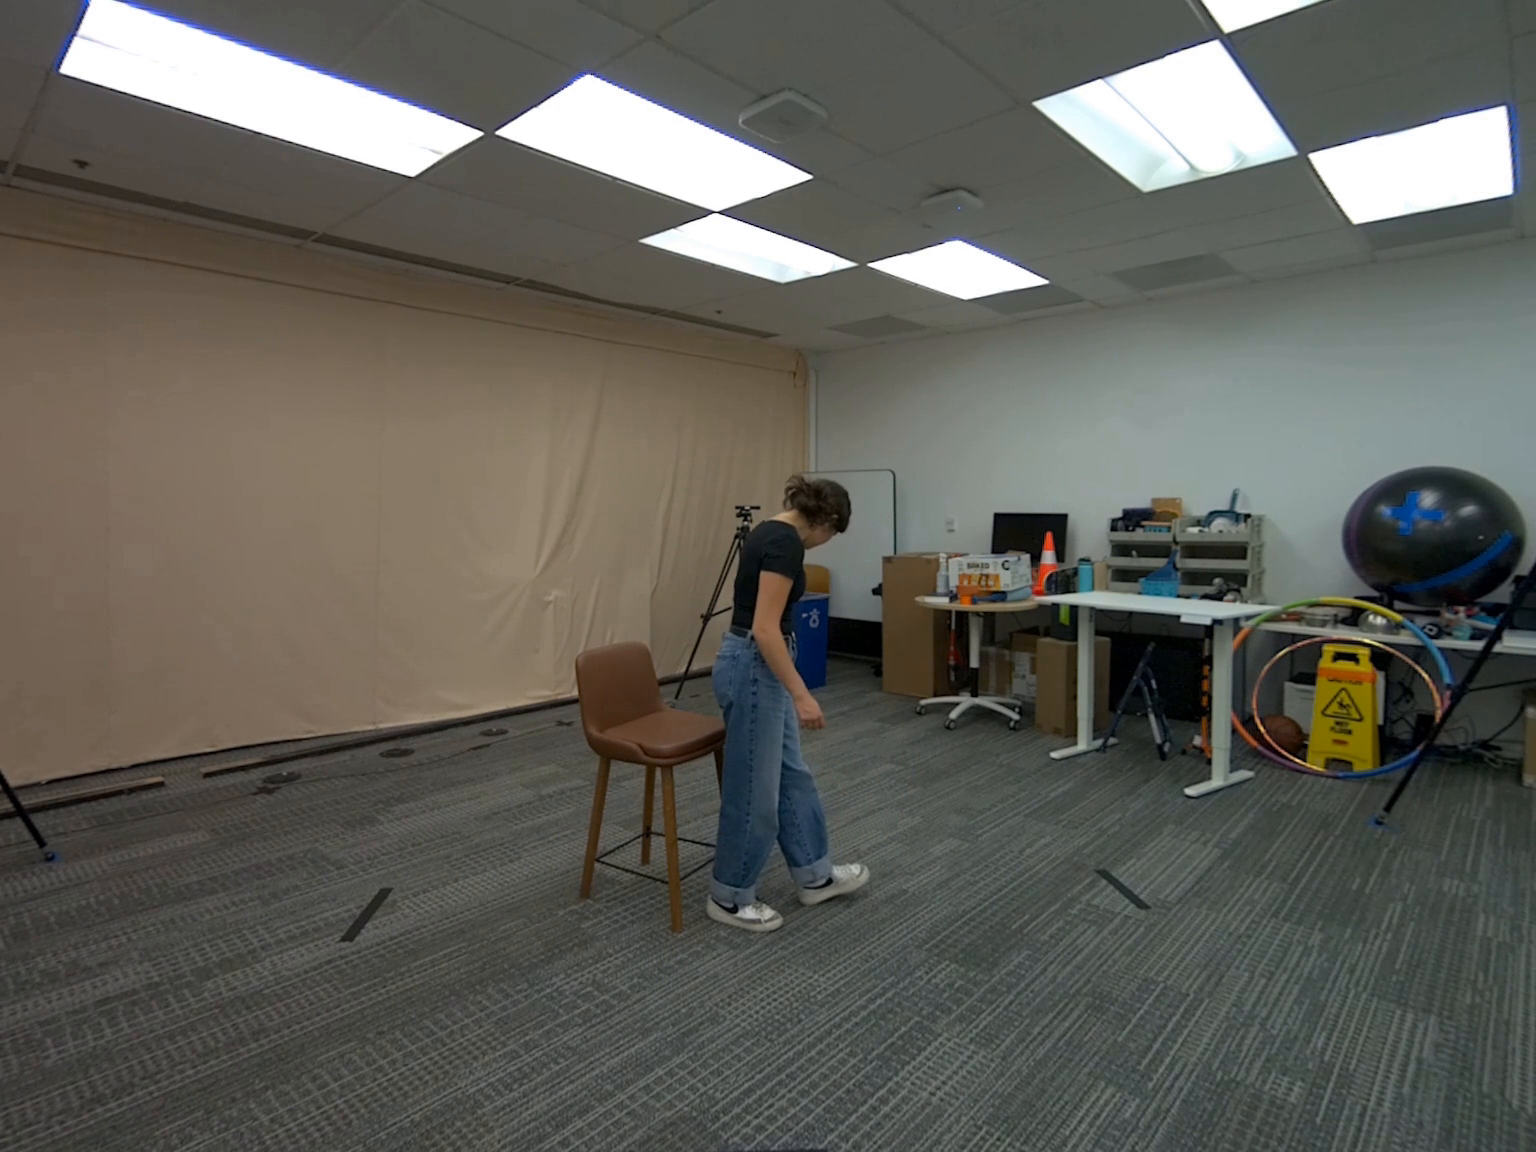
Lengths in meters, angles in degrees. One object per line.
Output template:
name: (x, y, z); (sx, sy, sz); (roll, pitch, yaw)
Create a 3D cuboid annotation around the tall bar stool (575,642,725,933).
tall bar stool: (-0.393, 0.711, 3.017); (0.481, 0.889, 0.444); (-1, 2, 33)
